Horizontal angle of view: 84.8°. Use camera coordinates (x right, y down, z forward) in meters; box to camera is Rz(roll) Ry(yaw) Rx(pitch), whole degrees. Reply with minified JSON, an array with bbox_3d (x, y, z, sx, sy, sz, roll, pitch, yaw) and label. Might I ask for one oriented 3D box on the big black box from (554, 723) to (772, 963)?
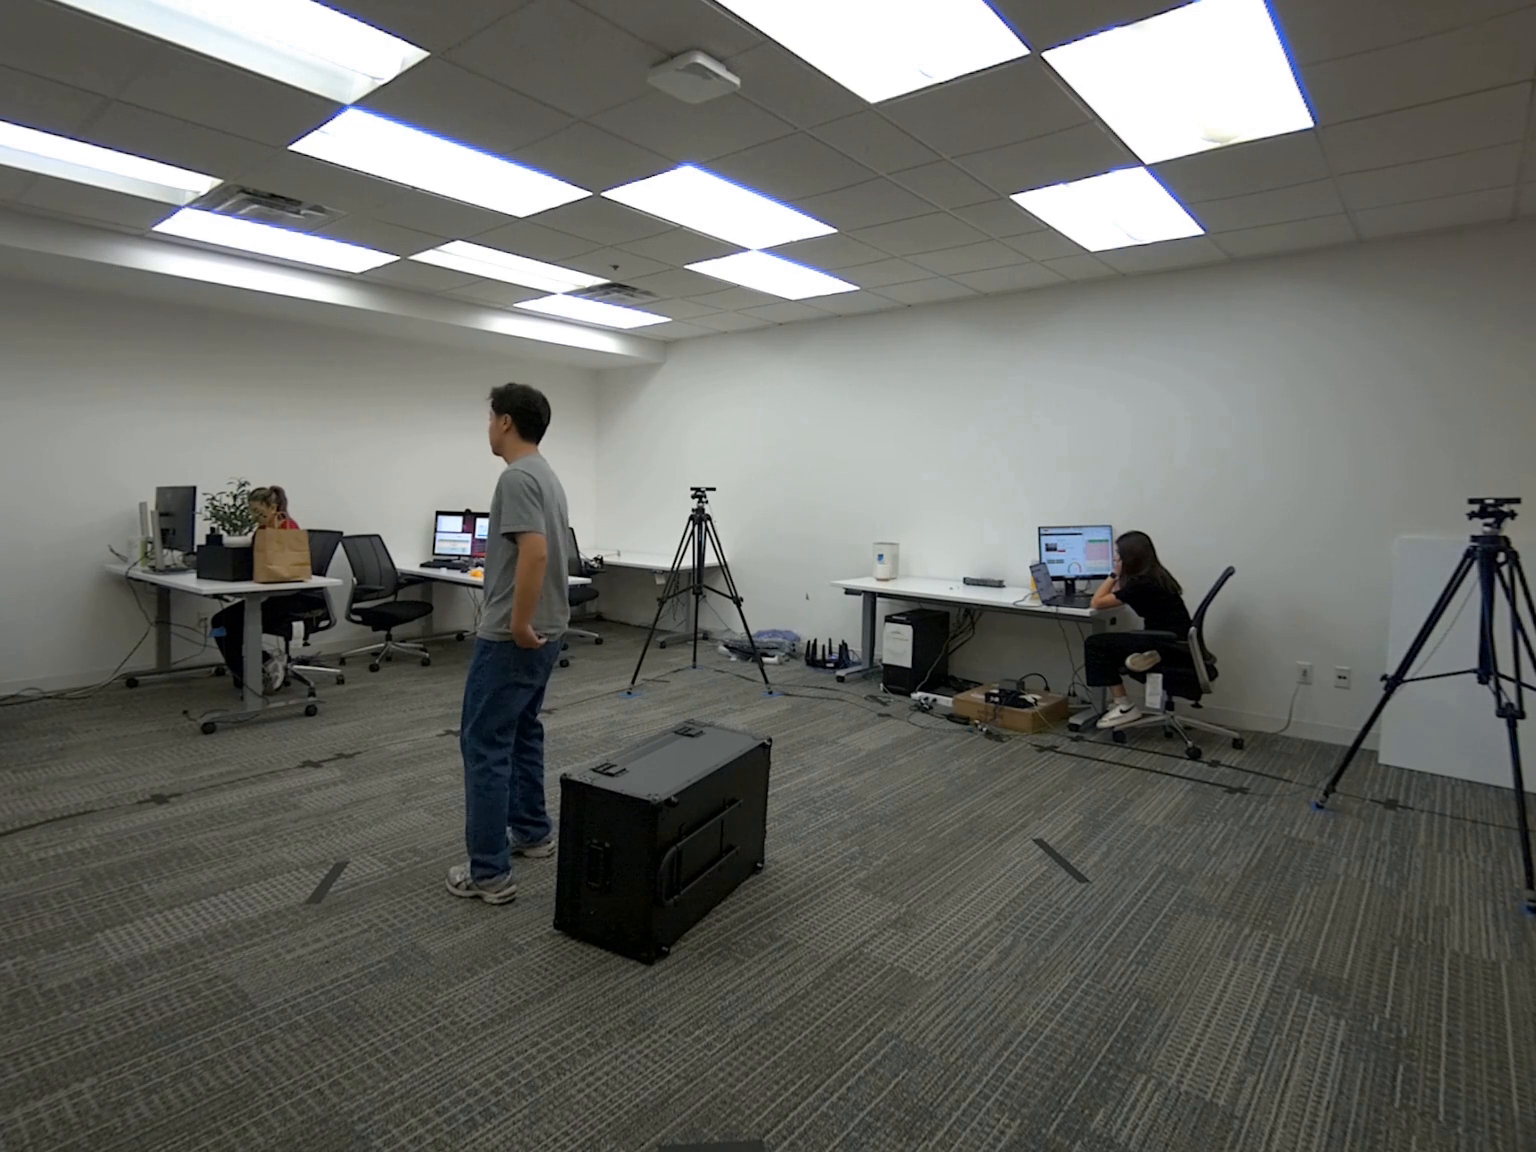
[{"bbox_3d":[-0.305,0.830,2.883,0.407,0.519,0.842,5,6,25],"label":"big black box"}]
